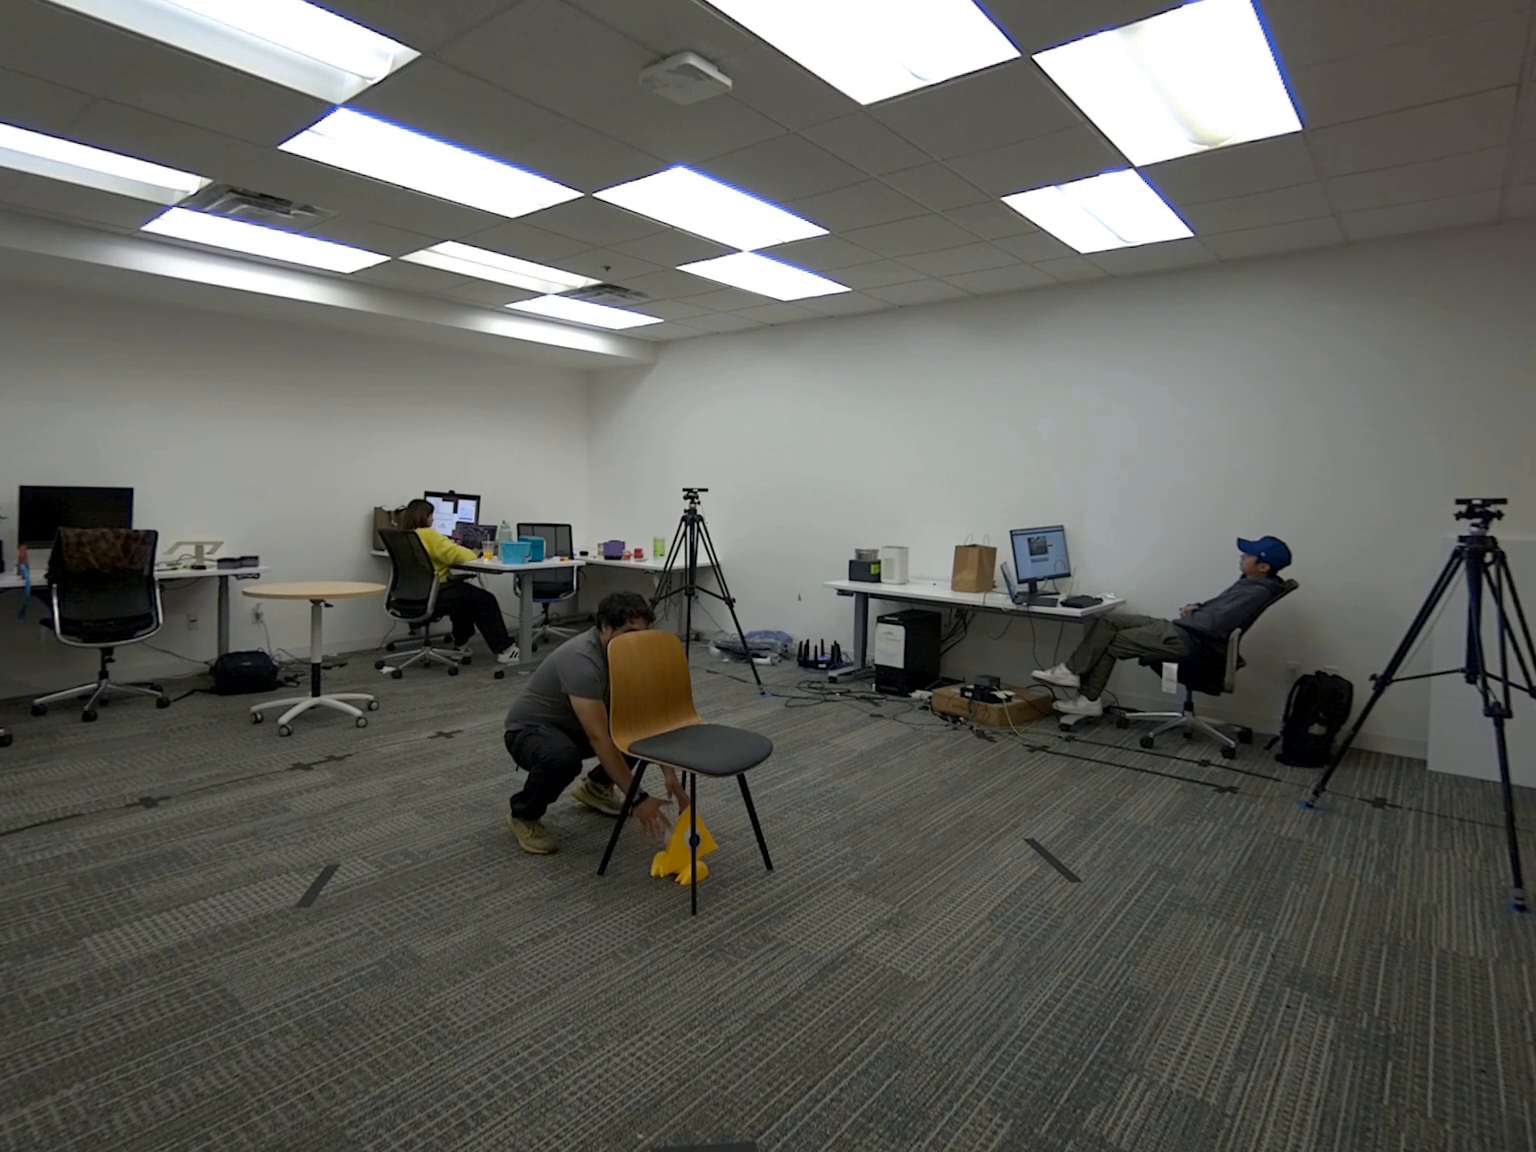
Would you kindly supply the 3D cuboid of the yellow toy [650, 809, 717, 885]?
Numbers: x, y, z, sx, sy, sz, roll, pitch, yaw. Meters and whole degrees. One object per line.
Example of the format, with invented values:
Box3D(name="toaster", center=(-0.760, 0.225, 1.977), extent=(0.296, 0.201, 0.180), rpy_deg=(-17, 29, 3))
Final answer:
Box3D(name="yellow toy", center=(-0.321, 0.960, 3.084), extent=(0.211, 0.230, 0.187), rpy_deg=(4, 2, 33))
